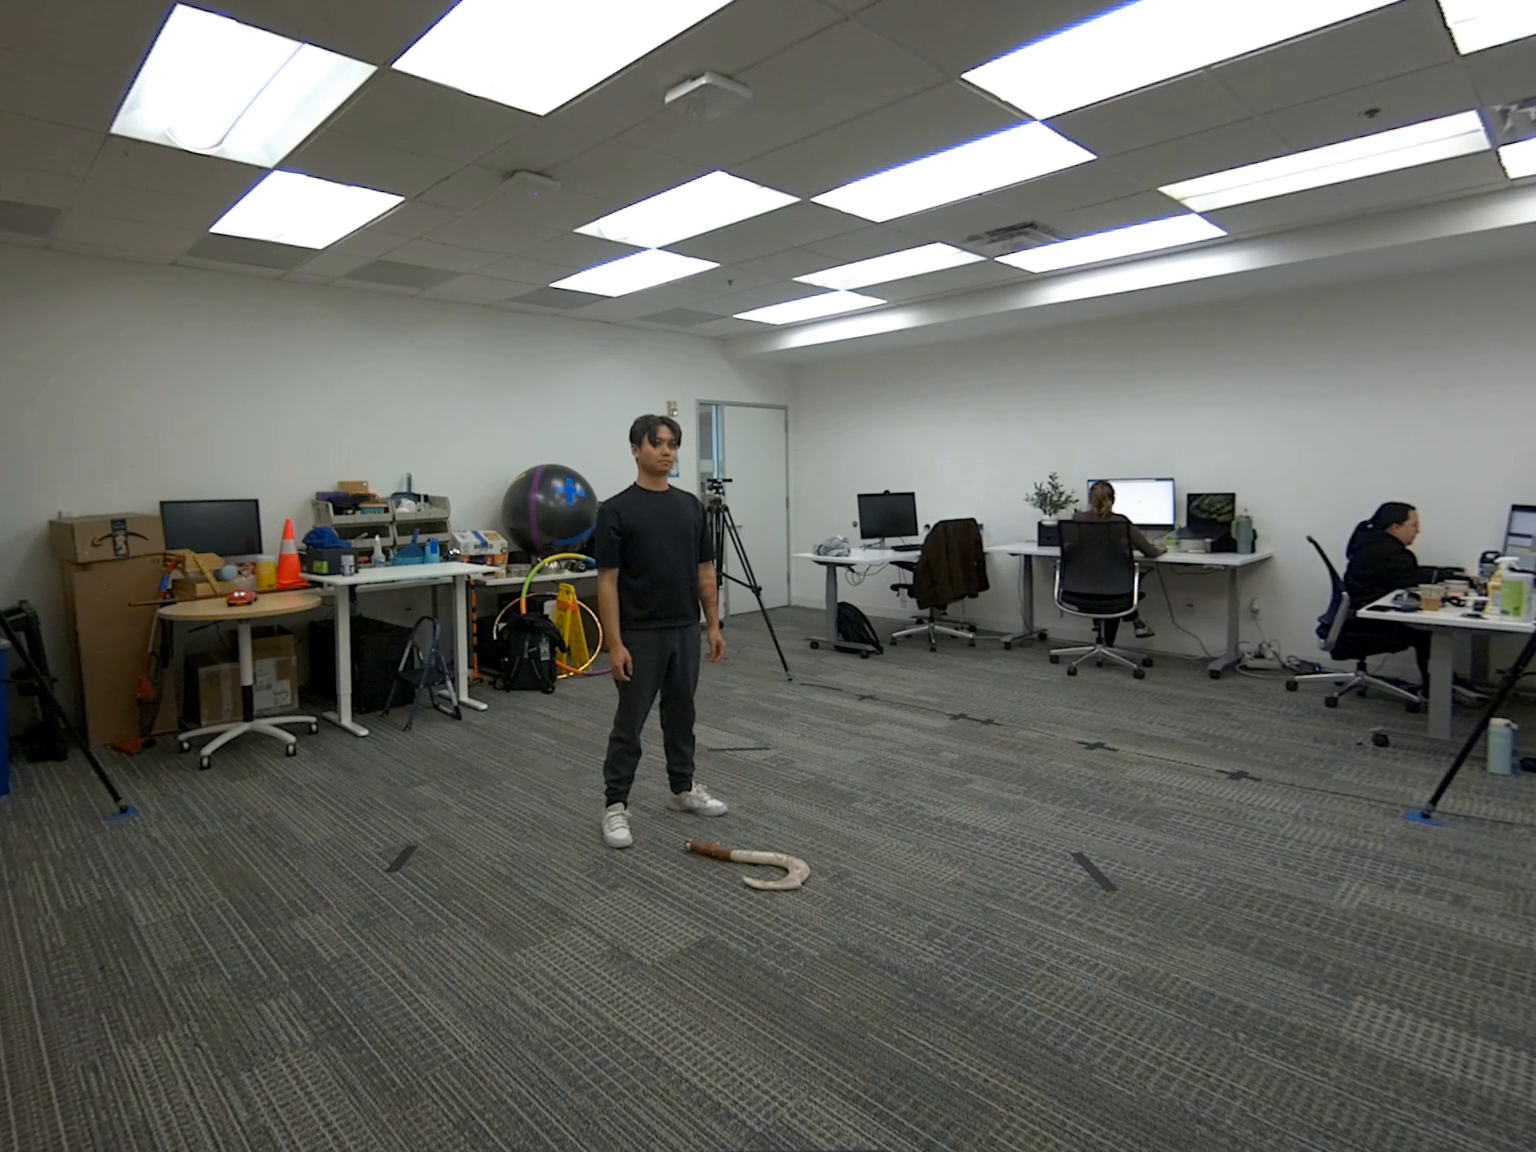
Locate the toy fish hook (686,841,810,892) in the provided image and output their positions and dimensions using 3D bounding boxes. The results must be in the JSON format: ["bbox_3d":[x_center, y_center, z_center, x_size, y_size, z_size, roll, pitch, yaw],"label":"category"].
[{"bbox_3d":[-0.099,1.030,3.055,0.519,0.048,0.220,2,6,28],"label":"toy fish hook"}]
